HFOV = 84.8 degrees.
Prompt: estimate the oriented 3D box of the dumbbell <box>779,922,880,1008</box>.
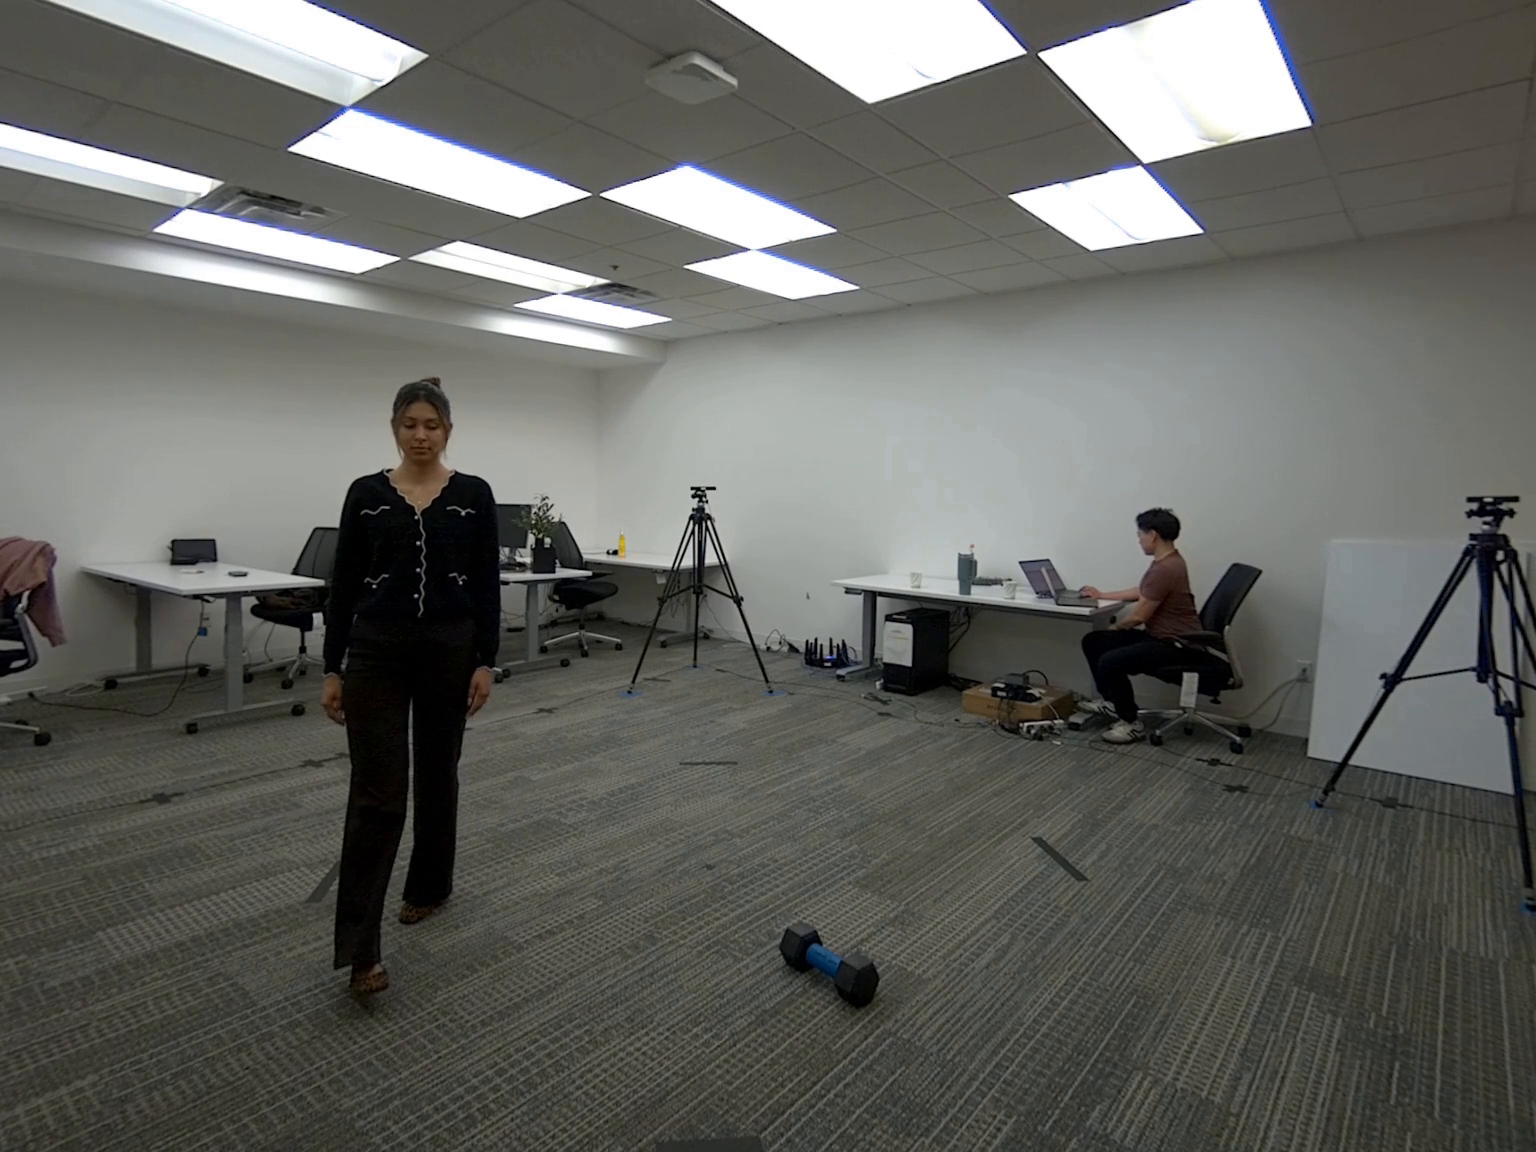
[{"bbox_3d":[0.166,1.092,2.398,0.108,0.119,0.304,-39,28,-32],"label":"dumbbell"}]
